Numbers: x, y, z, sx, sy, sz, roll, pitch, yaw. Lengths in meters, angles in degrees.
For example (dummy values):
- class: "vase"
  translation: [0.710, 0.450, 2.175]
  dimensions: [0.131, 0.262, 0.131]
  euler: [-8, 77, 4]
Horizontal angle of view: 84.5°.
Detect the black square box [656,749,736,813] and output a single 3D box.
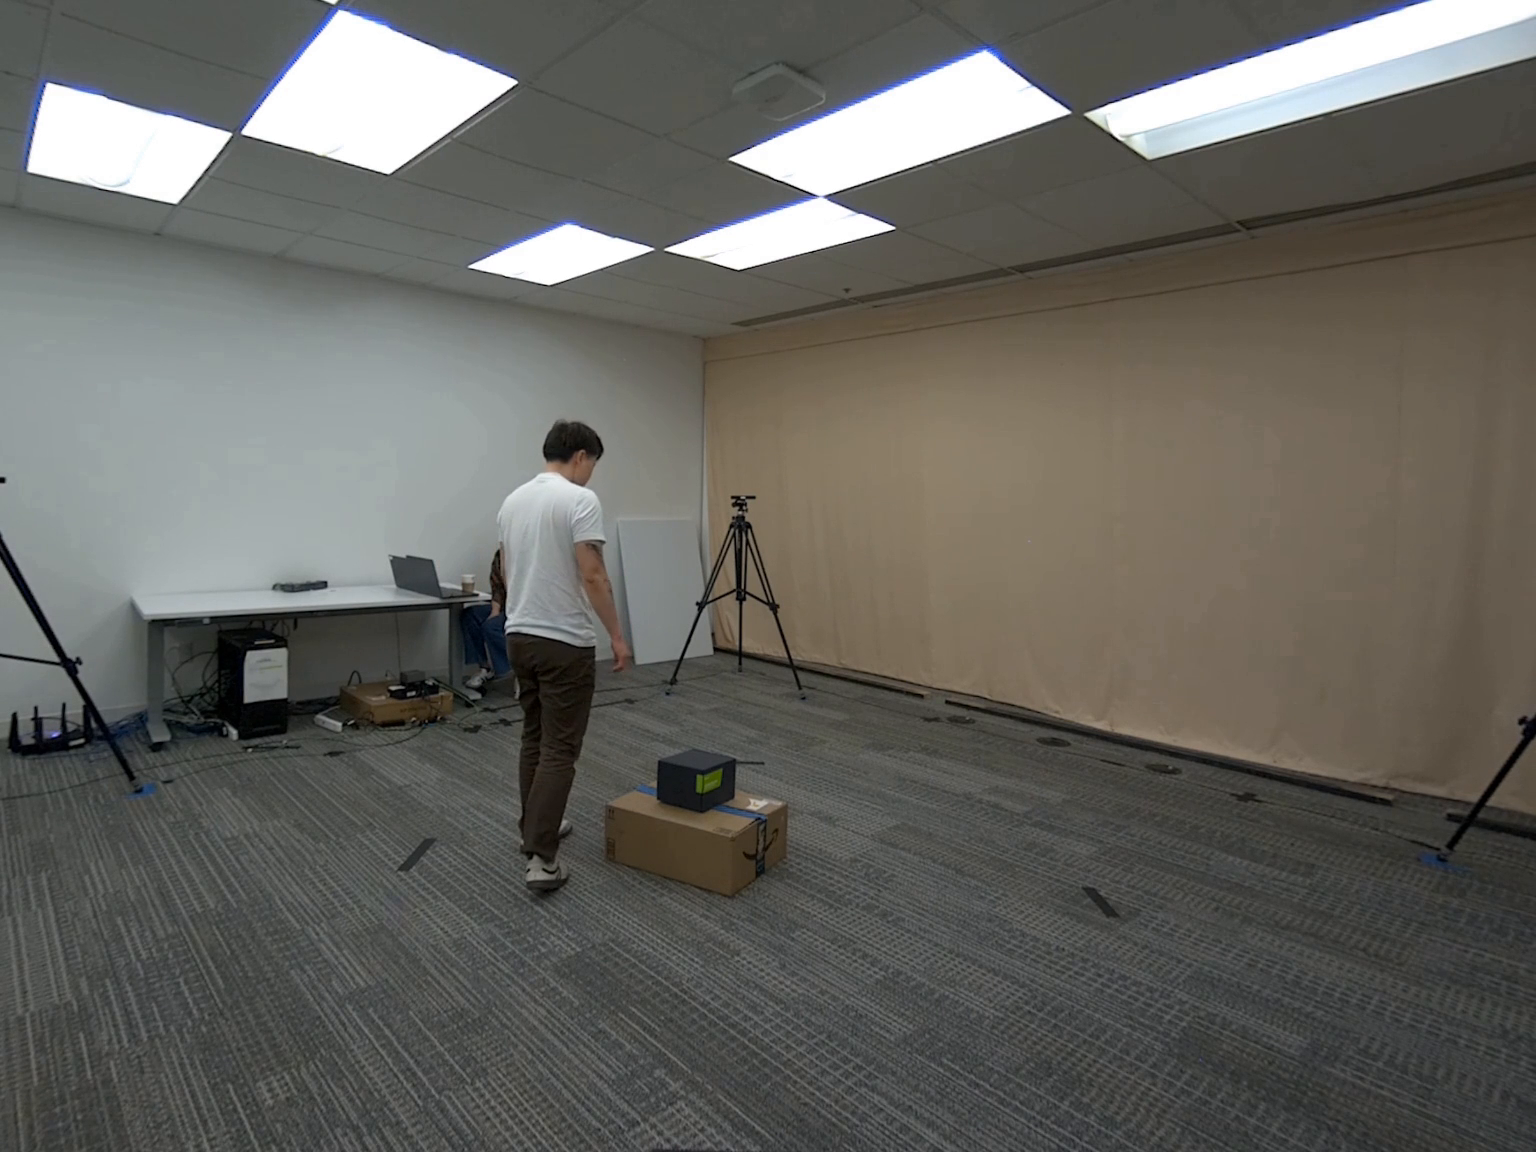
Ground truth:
- class: "black square box"
  translation: [-0.284, 0.785, 3.257]
  dimensions: [0.222, 0.156, 0.223]
  euler: [4, 3, 32]
